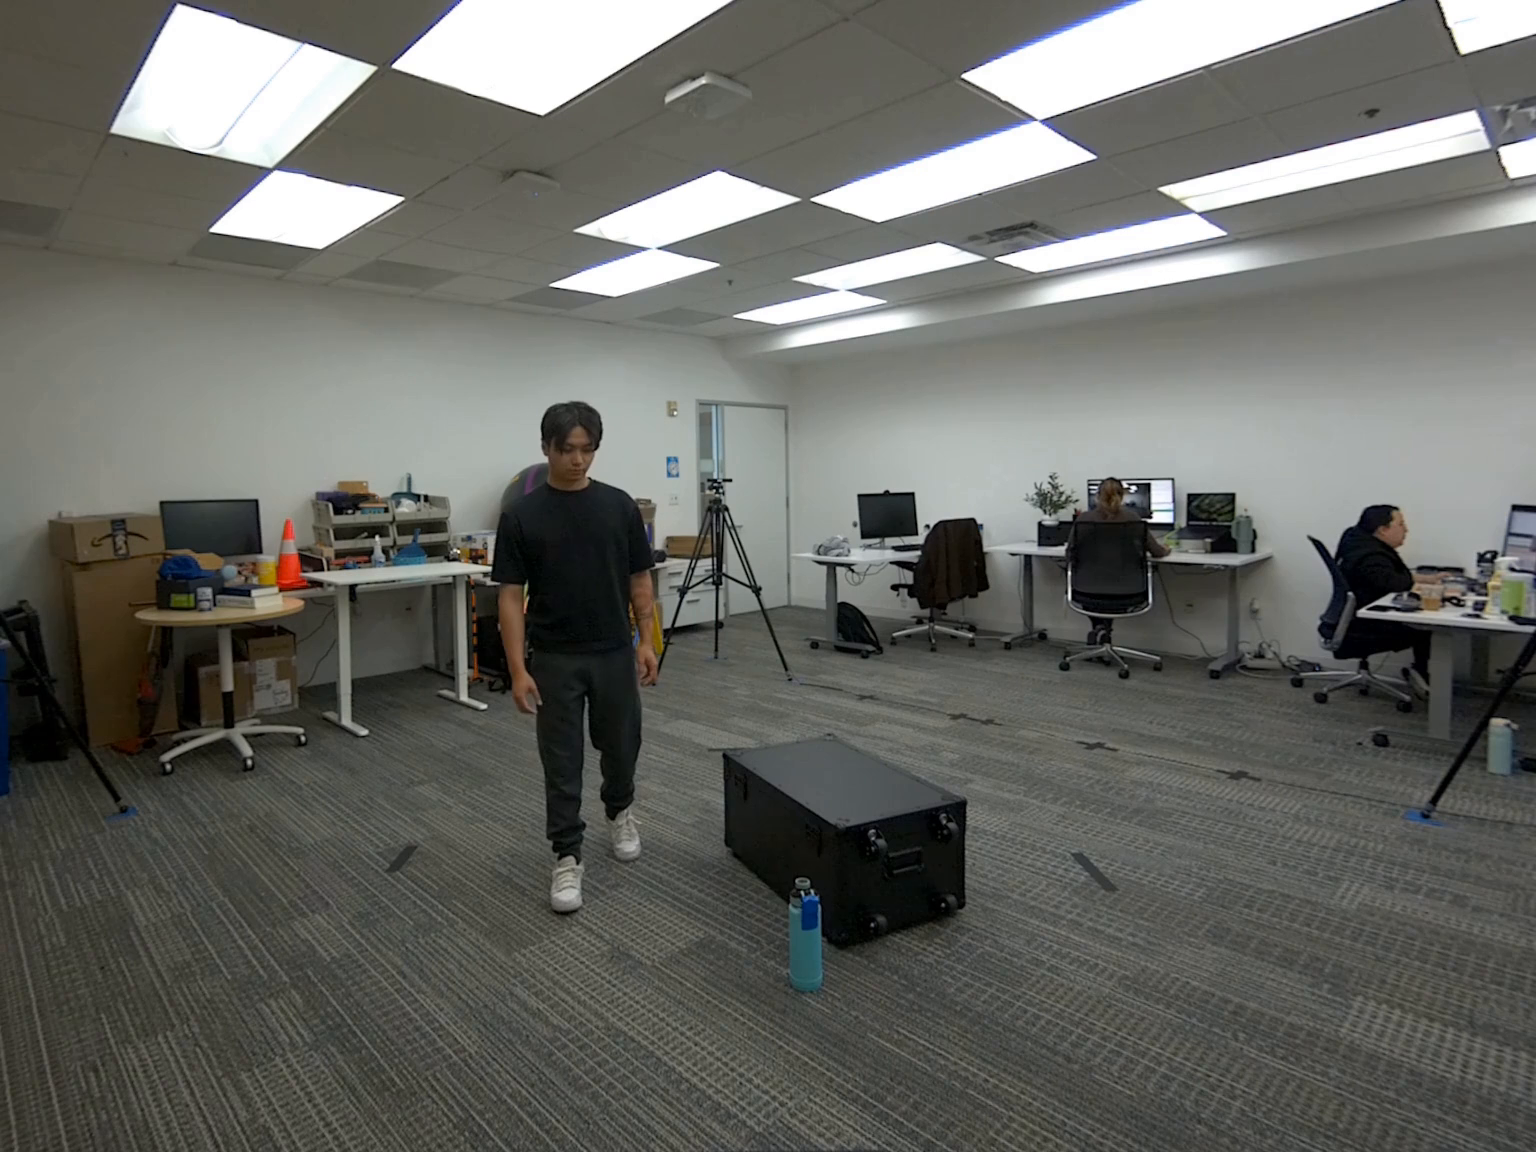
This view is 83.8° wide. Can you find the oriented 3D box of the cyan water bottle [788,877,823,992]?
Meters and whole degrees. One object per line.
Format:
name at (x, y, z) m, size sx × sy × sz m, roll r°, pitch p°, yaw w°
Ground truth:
cyan water bottle at (0.108, 0.991, 2.353) m, size 0.092 × 0.282 × 0.093 m, roll 0°, pitch 5°, yaw -2°
